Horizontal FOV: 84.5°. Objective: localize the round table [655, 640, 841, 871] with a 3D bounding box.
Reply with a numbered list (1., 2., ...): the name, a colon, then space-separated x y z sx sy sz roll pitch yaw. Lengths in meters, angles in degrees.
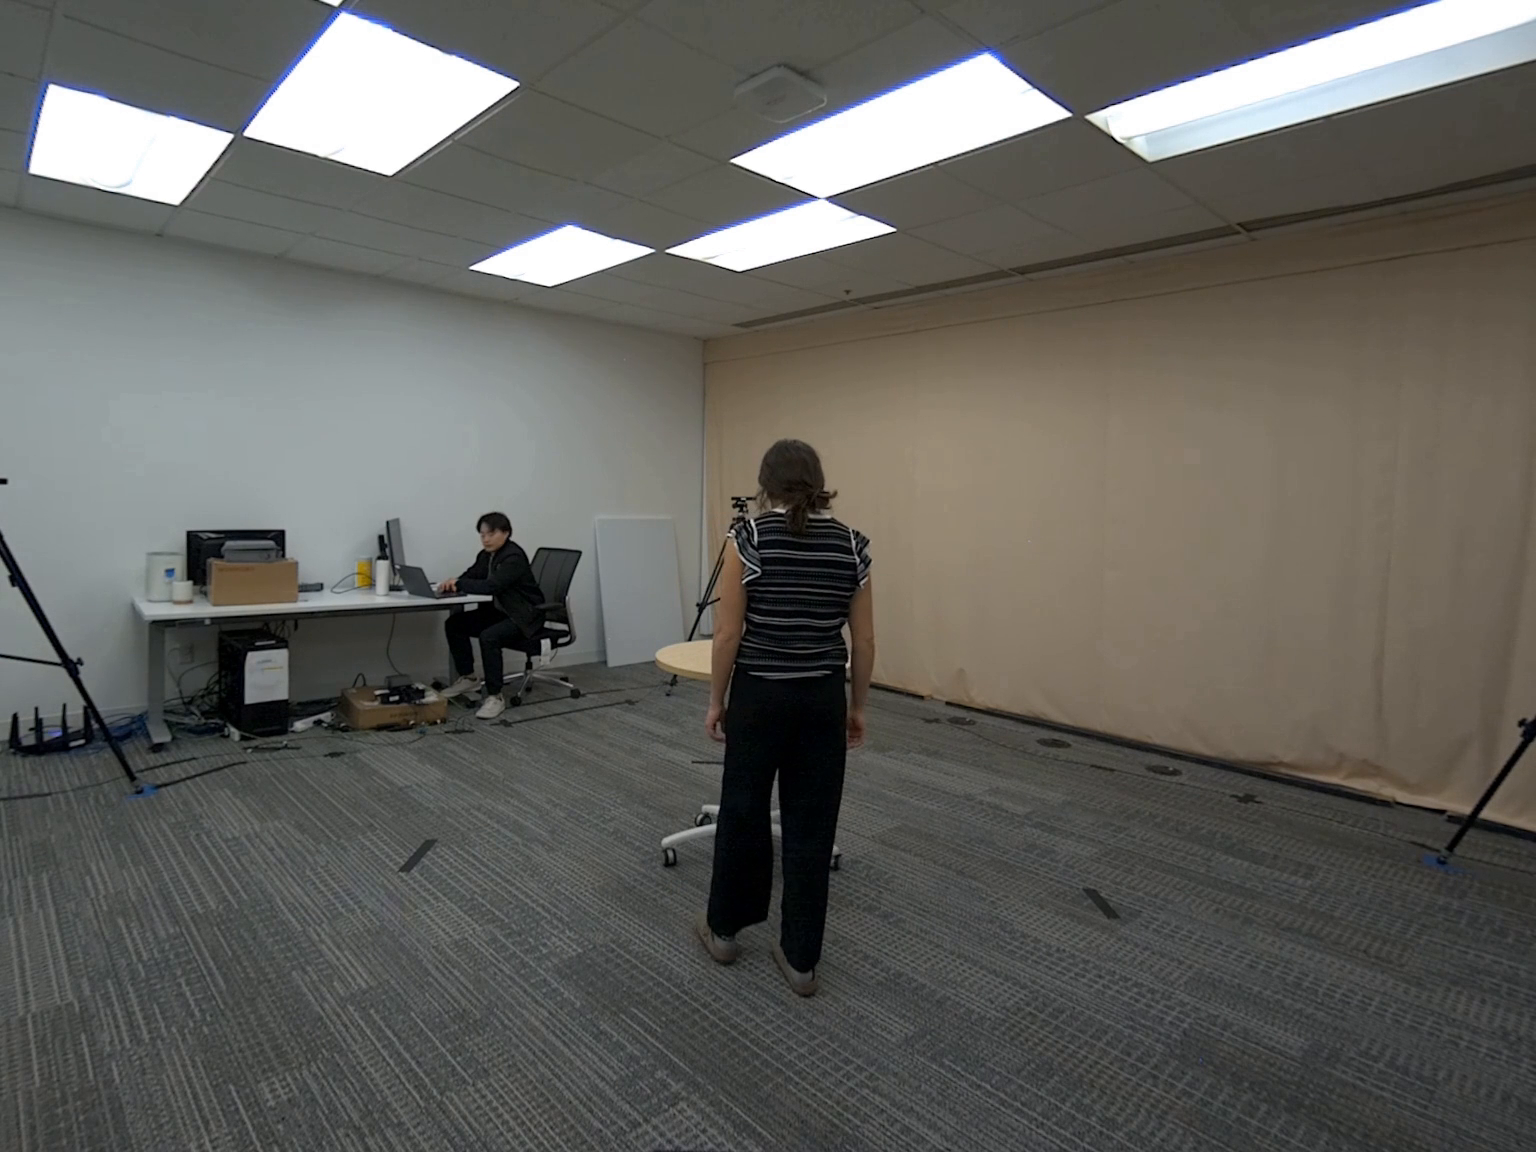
1. round table: -0.080 0.703 3.268 0.784 0.784 0.788 2 4 -2
